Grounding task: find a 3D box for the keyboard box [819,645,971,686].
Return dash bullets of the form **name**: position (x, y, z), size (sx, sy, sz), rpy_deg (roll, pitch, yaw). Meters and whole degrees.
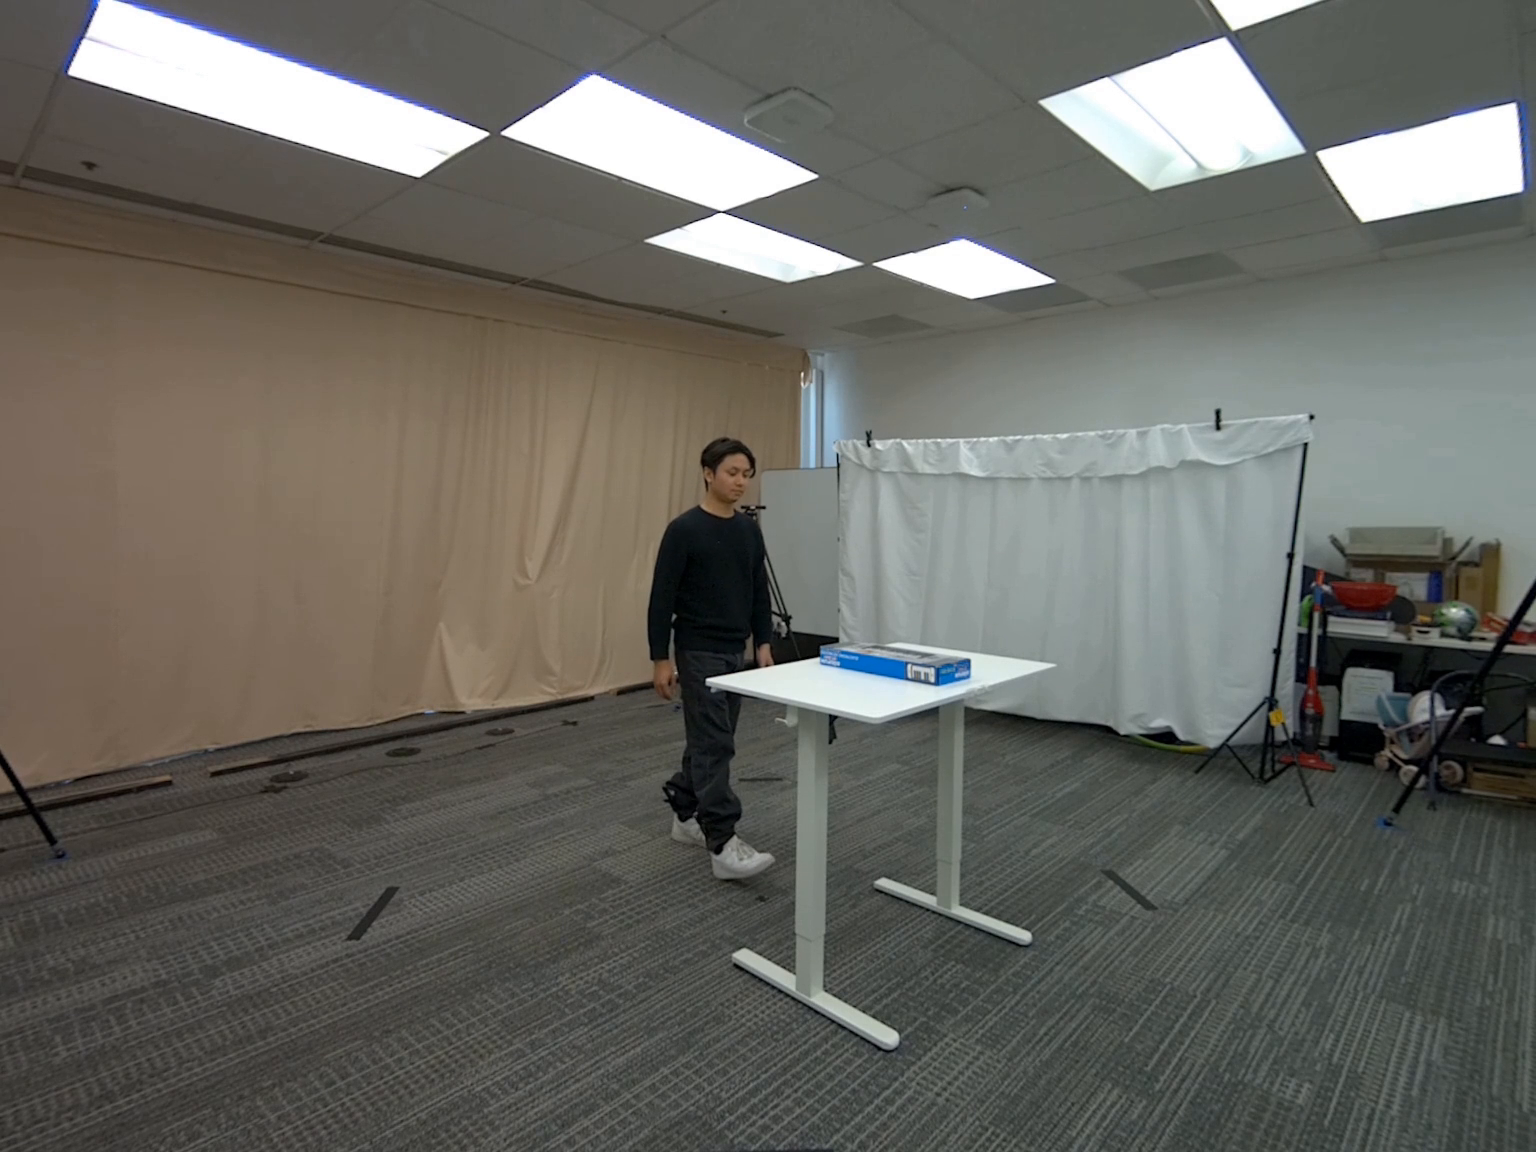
- **keyboard box**: position (0.391, 0.265, 2.579), size (0.170, 0.059, 0.451), rpy_deg (-5, 7, -44)
